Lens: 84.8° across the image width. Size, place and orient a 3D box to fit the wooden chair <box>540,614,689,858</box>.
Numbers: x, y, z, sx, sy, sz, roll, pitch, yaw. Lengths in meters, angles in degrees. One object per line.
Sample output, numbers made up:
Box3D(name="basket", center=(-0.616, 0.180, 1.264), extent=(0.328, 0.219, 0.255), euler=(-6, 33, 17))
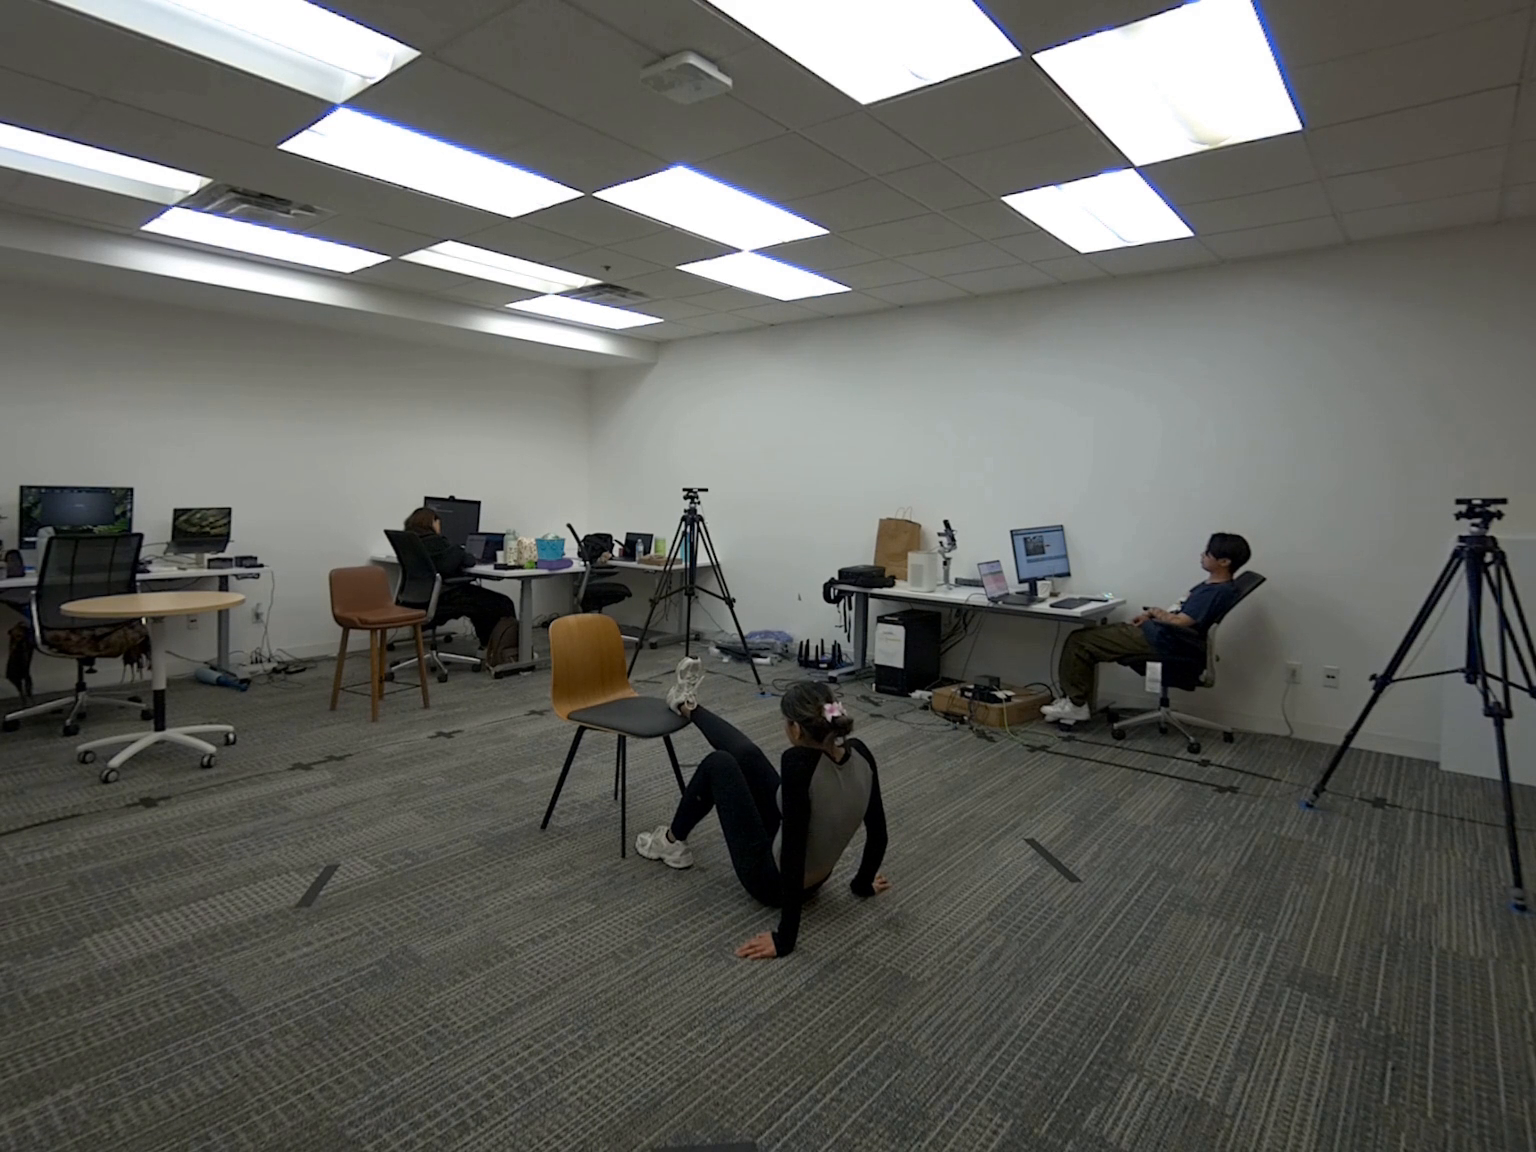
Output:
Box3D(name="wooden chair", center=(-0.606, 0.600, 3.467), extent=(0.538, 0.877, 0.464), euler=(-2, 1, 34))
